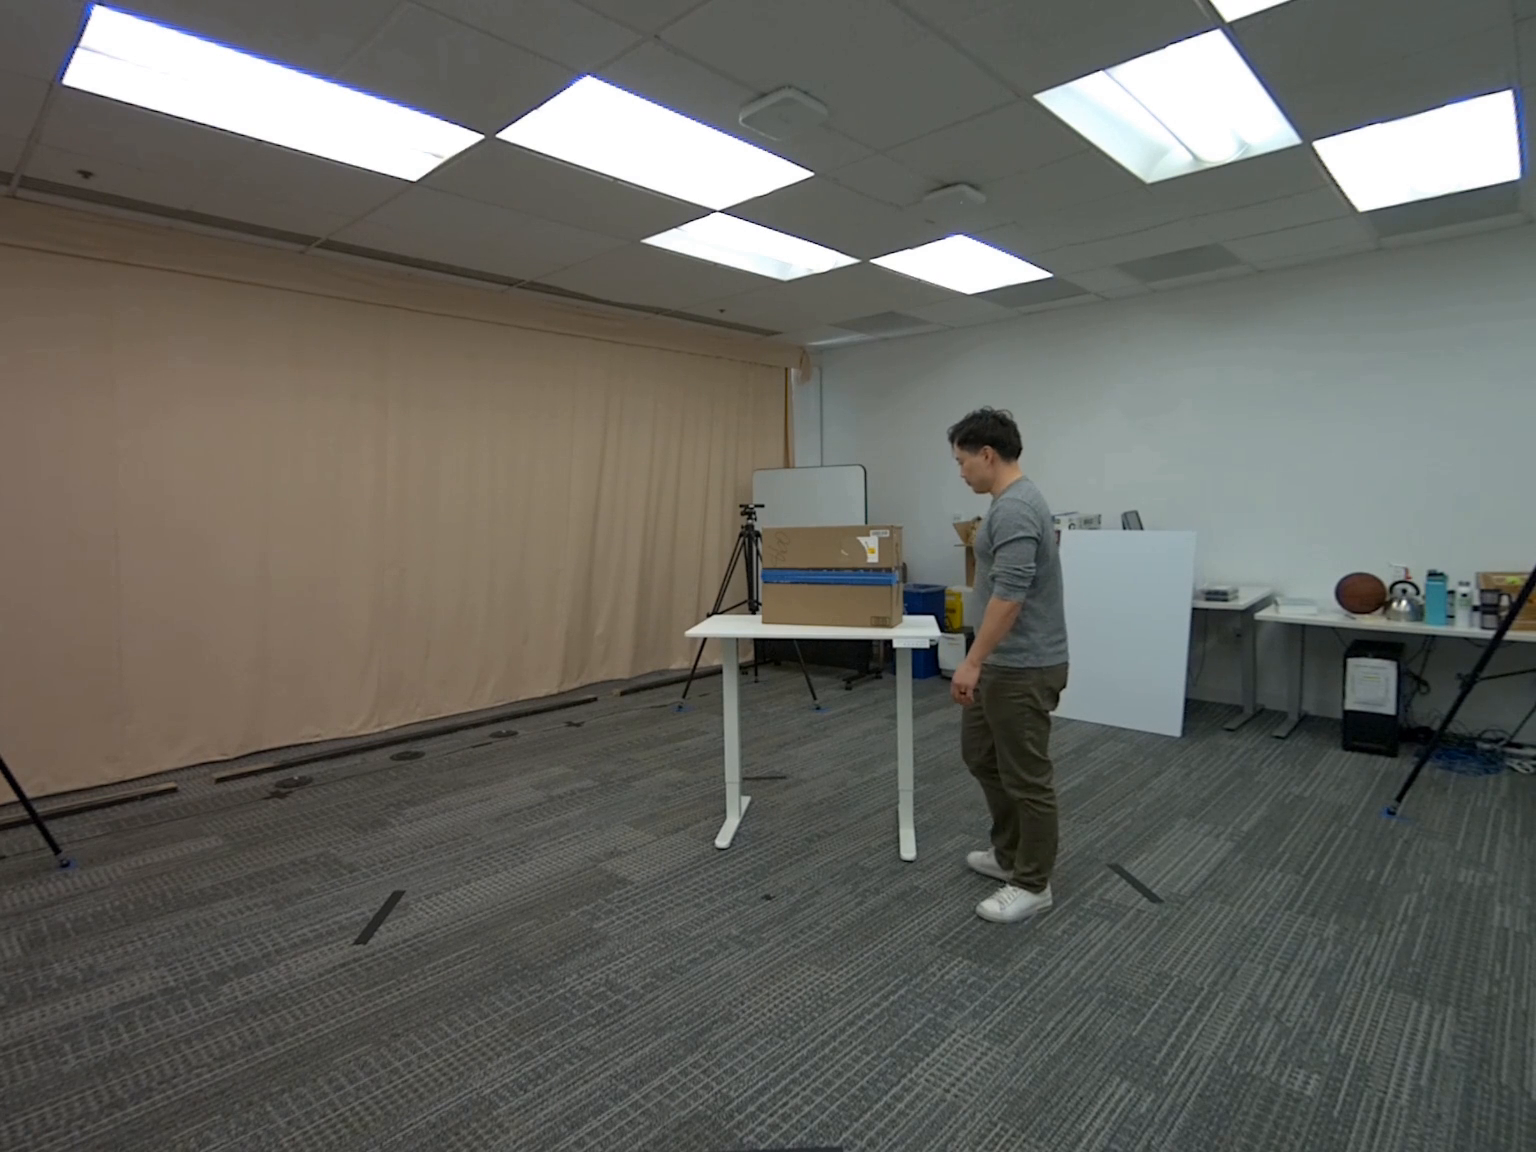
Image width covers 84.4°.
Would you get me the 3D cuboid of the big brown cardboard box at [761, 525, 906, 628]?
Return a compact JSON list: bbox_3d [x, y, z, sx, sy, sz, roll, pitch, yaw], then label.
[{"bbox_3d":[0.280,-0.004,3.594,0.603,0.417,0.228,0,2,24],"label":"big brown cardboard box"}]
